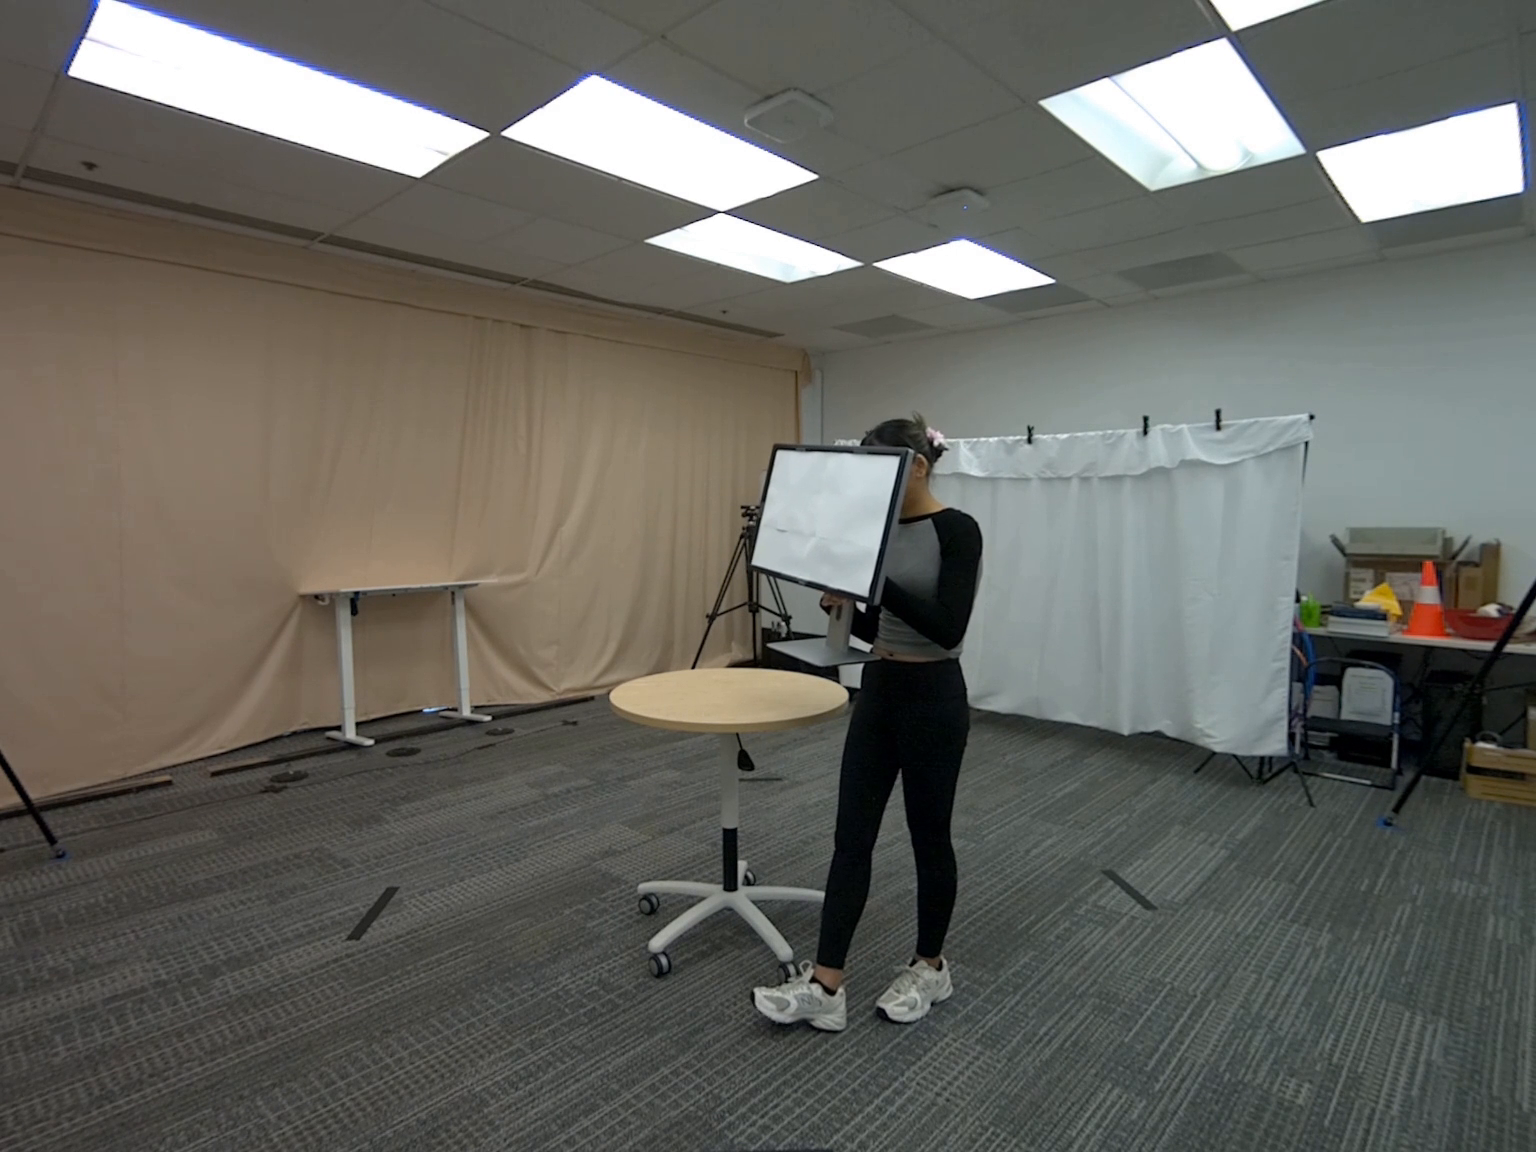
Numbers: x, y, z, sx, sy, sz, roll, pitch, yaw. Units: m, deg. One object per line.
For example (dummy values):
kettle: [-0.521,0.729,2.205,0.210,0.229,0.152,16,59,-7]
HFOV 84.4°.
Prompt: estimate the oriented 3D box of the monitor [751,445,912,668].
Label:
monitor: [0.160,-0.062,2.159,0.182,0.520,0.556,-2,8,-33]
